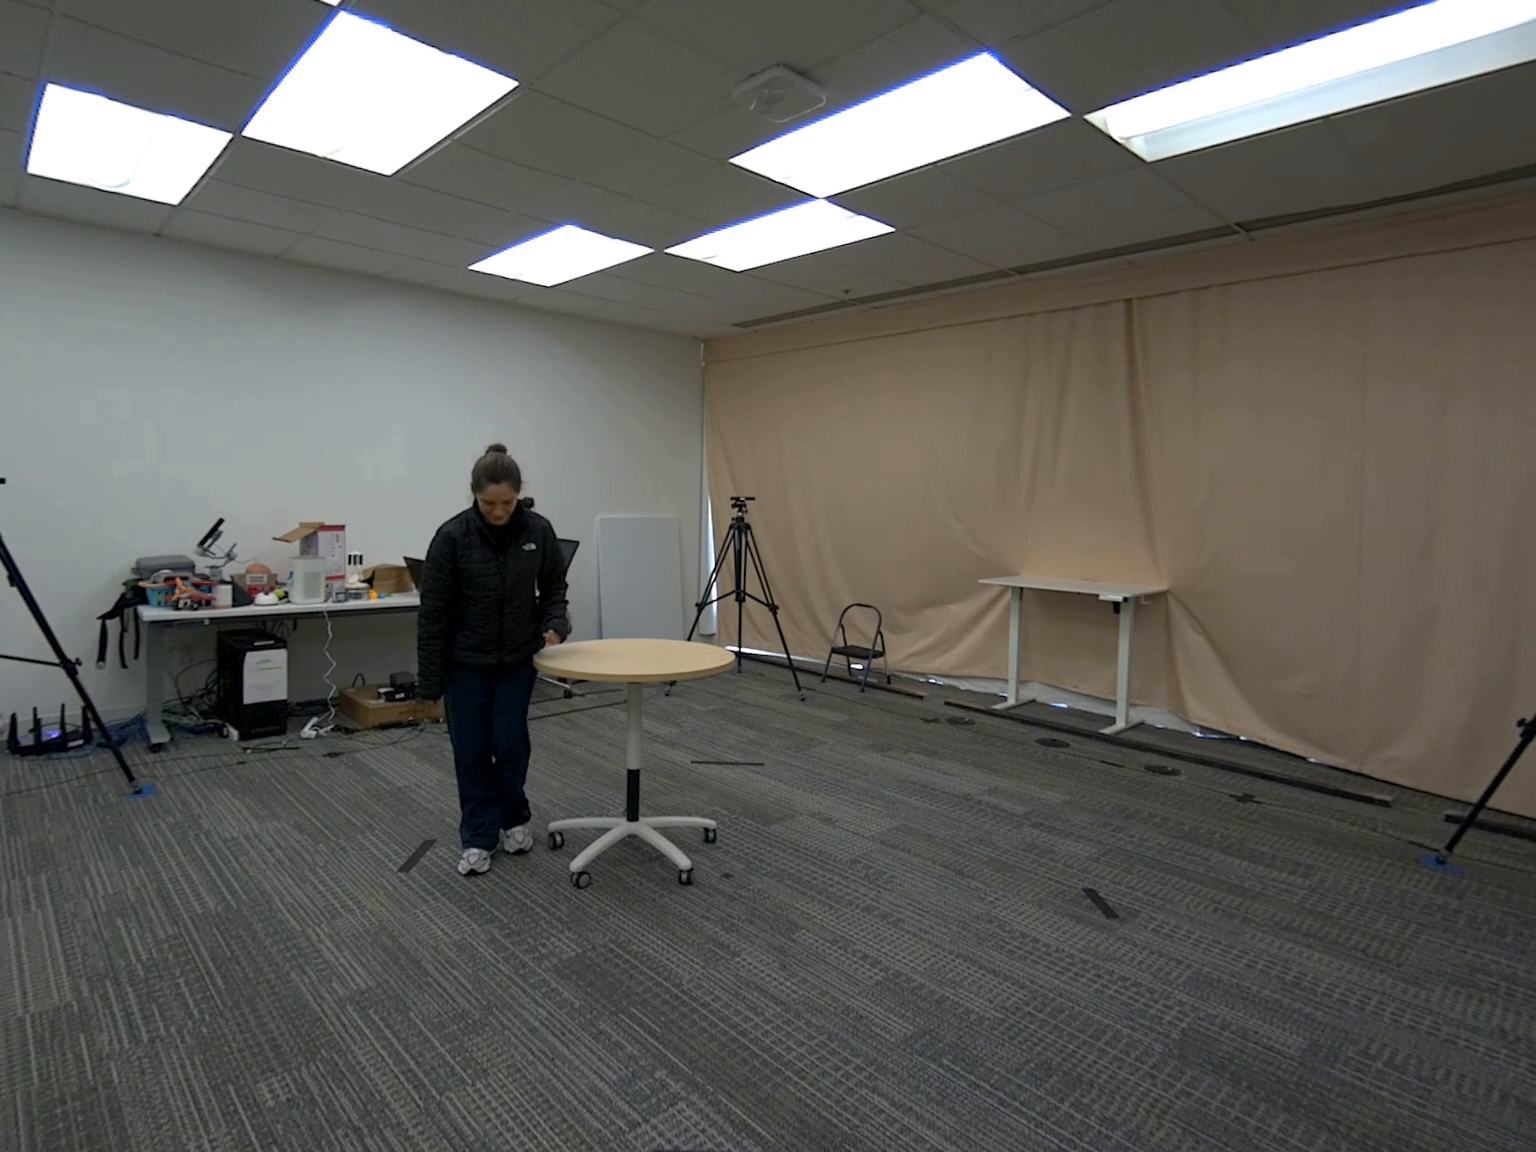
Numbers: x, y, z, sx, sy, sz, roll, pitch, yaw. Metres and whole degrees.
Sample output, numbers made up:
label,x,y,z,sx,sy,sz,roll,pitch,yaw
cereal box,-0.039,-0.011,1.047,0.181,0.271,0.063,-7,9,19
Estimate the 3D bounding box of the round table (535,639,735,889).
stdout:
label,x,y,z,sx,sy,sz,roll,pitch,yaw
round table,-0.509,0.693,3.209,0.784,0.785,0.787,1,3,-1
